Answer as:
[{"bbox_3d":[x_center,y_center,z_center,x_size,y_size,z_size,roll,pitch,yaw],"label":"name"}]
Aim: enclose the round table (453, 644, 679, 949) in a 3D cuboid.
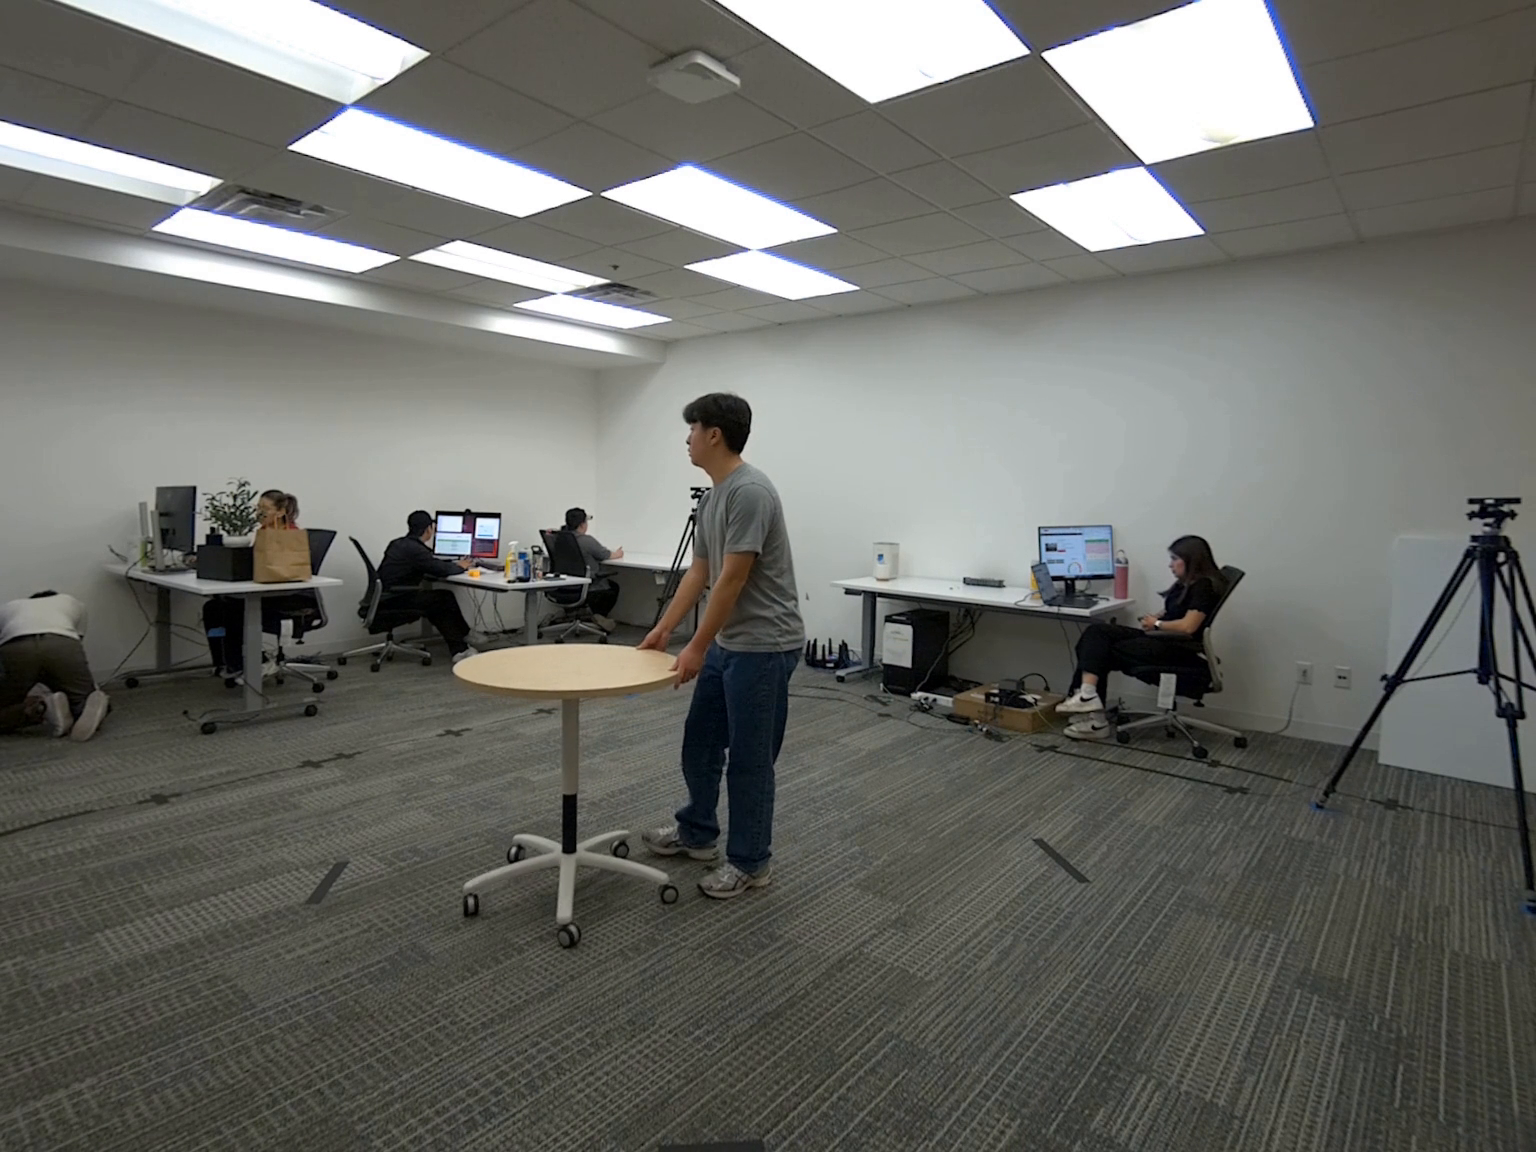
[{"bbox_3d":[-0.683,0.691,2.895,0.763,0.791,0.768,1,4,-2],"label":"round table"}]
